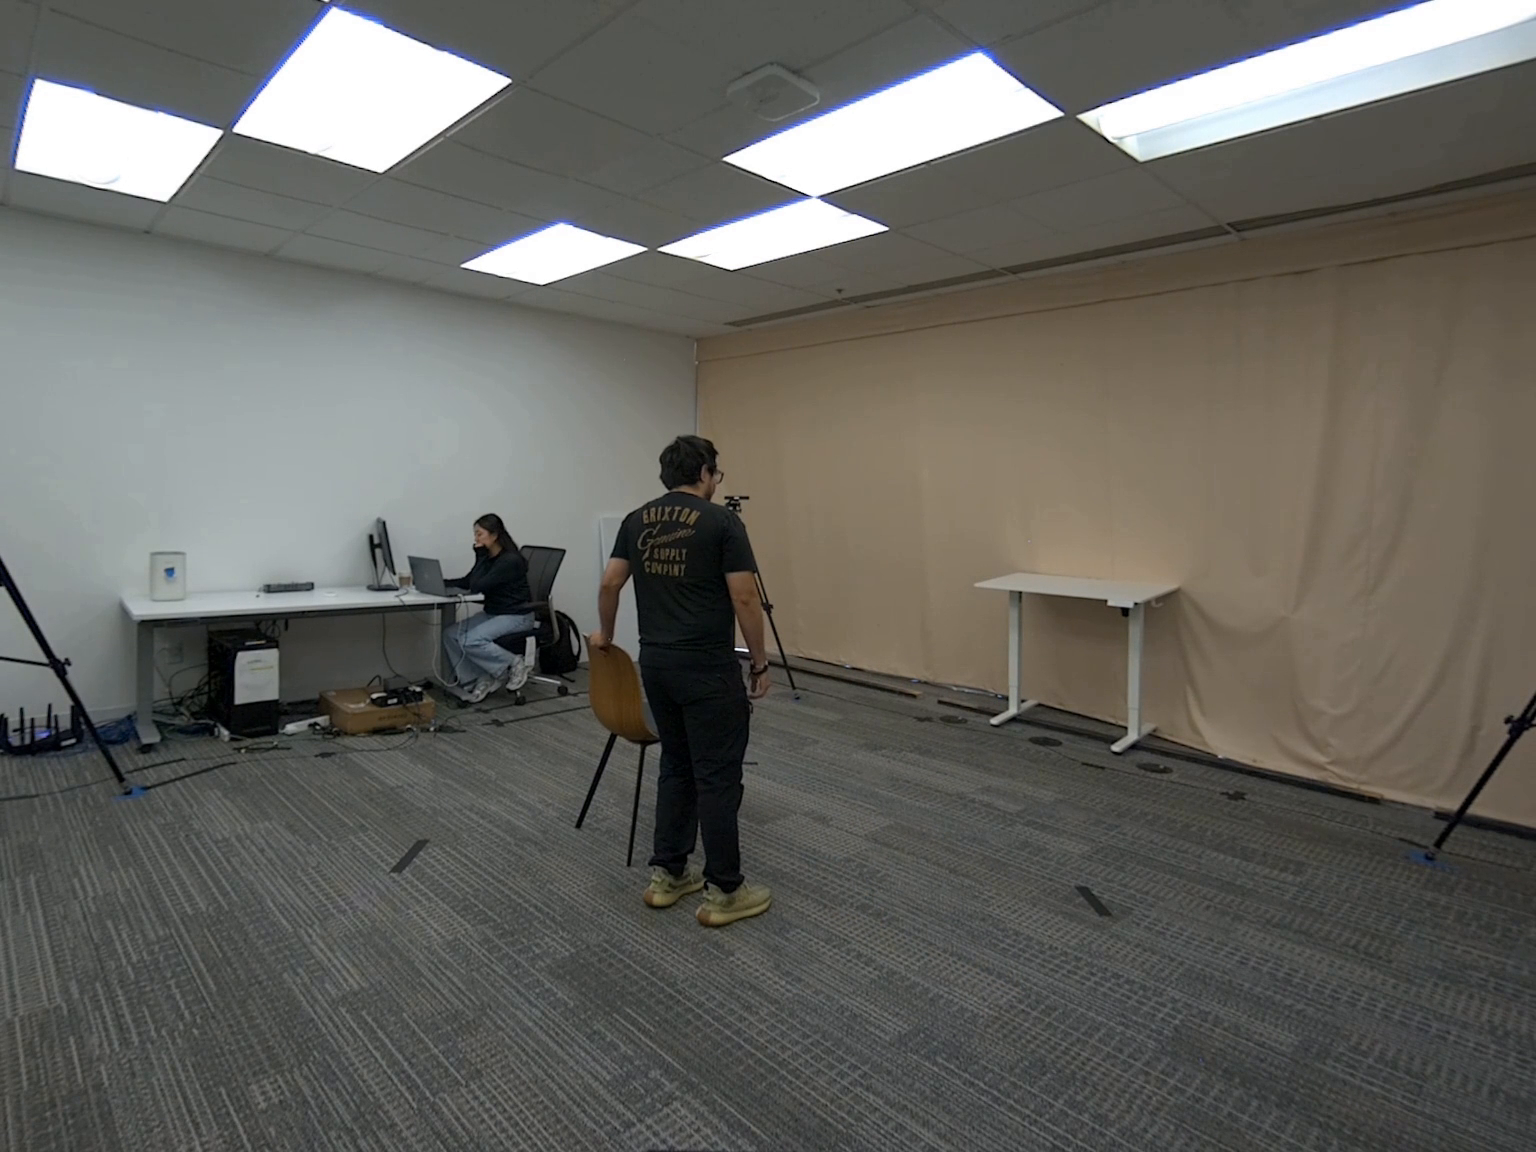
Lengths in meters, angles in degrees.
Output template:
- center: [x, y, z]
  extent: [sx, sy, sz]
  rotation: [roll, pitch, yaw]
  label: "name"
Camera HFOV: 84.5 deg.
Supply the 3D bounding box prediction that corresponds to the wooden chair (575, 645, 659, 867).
- center: [-0.476, 0.640, 3.441]
  extent: [0.512, 0.873, 0.490]
  rotation: [-6, 8, -37]
  label: "wooden chair"
